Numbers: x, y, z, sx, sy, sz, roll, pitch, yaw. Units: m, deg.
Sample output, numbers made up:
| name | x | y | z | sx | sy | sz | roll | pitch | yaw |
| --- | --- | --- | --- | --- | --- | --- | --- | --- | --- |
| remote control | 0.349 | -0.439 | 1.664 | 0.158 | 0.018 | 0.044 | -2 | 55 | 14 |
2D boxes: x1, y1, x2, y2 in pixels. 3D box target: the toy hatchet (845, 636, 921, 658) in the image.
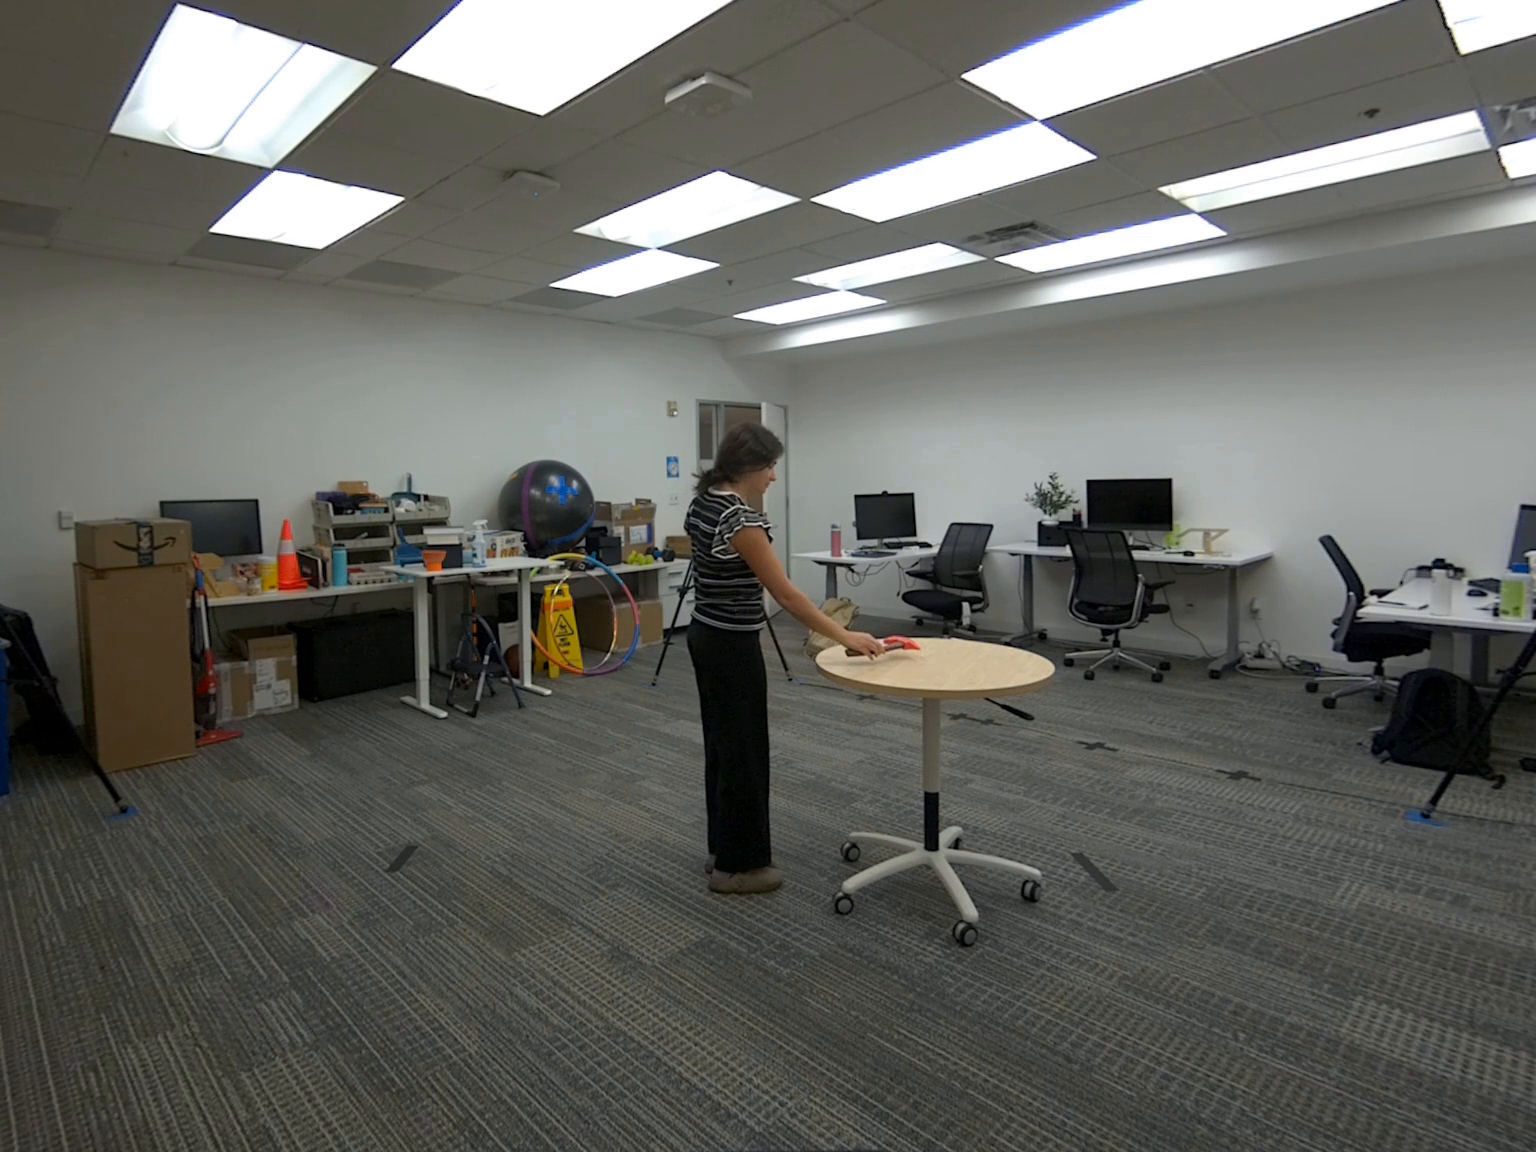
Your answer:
| name | x | y | z | sx | sy | sz | roll | pitch | yaw |
| --- | --- | --- | --- | --- | --- | --- | --- | --- | --- |
| toy hatchet | 0.361 | 0.235 | 2.868 | 0.266 | 0.029 | 0.135 | -3 | 18 | -16 |
